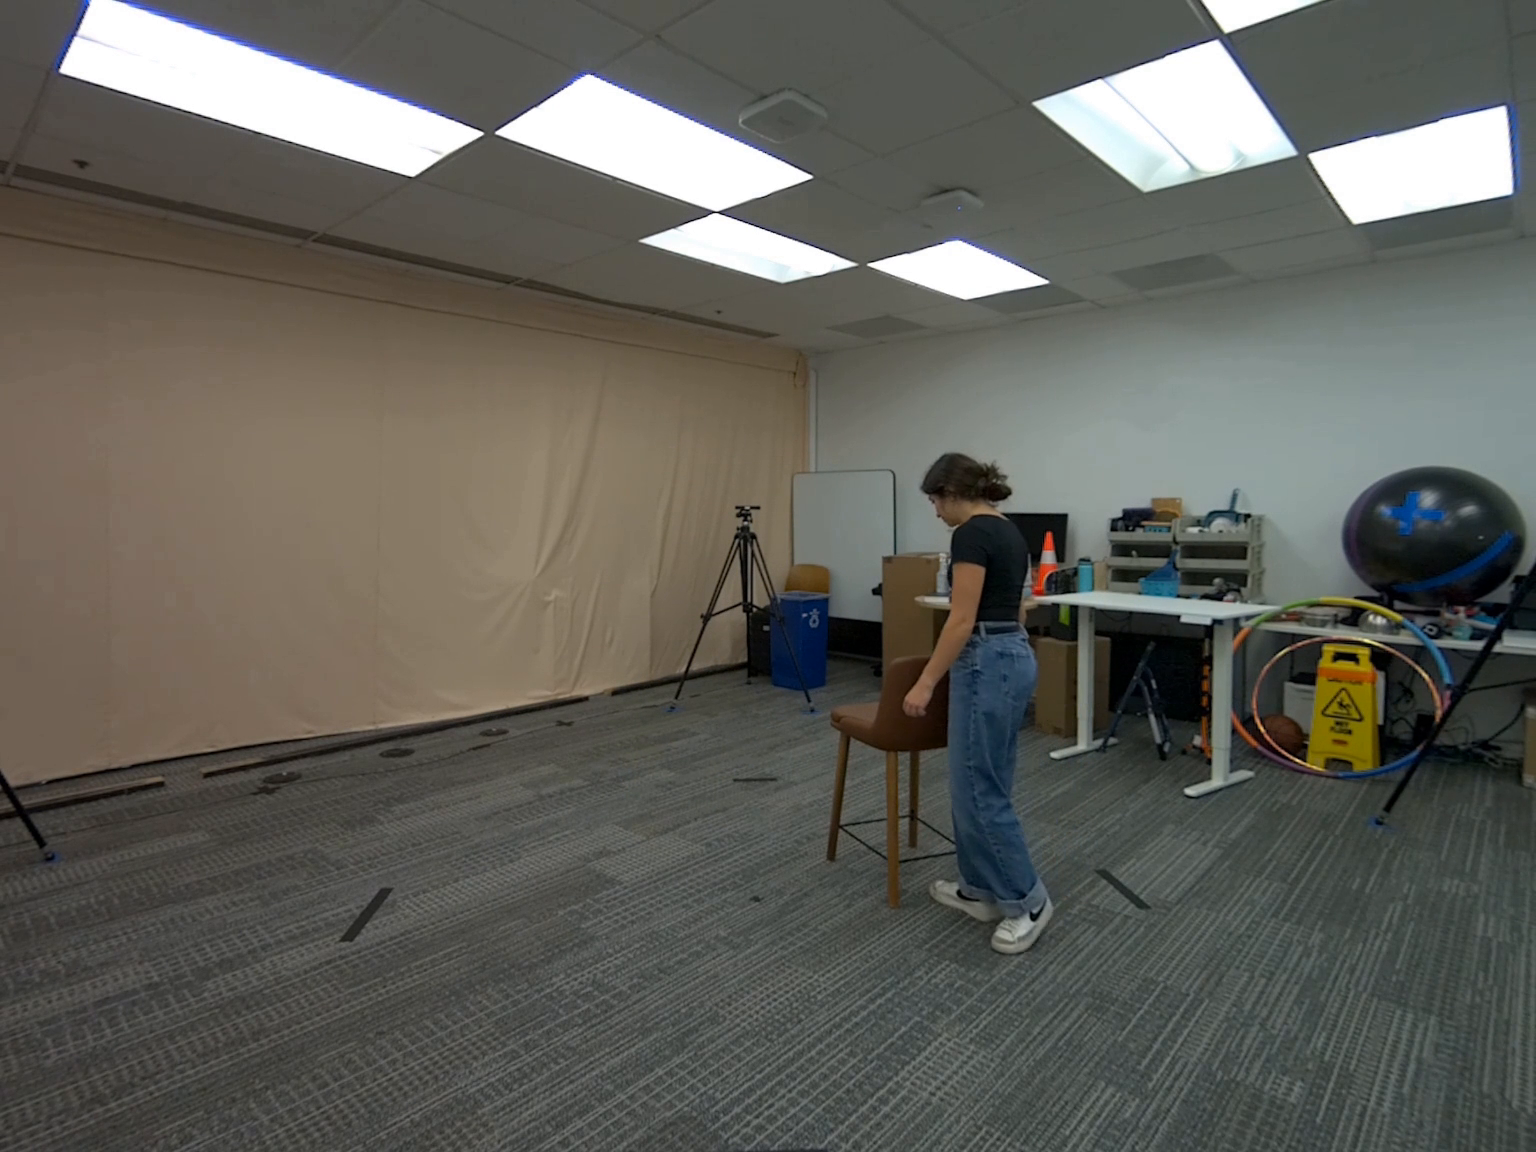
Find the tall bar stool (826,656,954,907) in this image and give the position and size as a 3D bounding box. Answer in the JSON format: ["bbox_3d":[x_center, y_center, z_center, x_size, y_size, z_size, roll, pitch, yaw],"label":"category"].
[{"bbox_3d":[0.514,0.691,3.151,0.446,0.887,0.479,-1,5,-23],"label":"tall bar stool"}]
